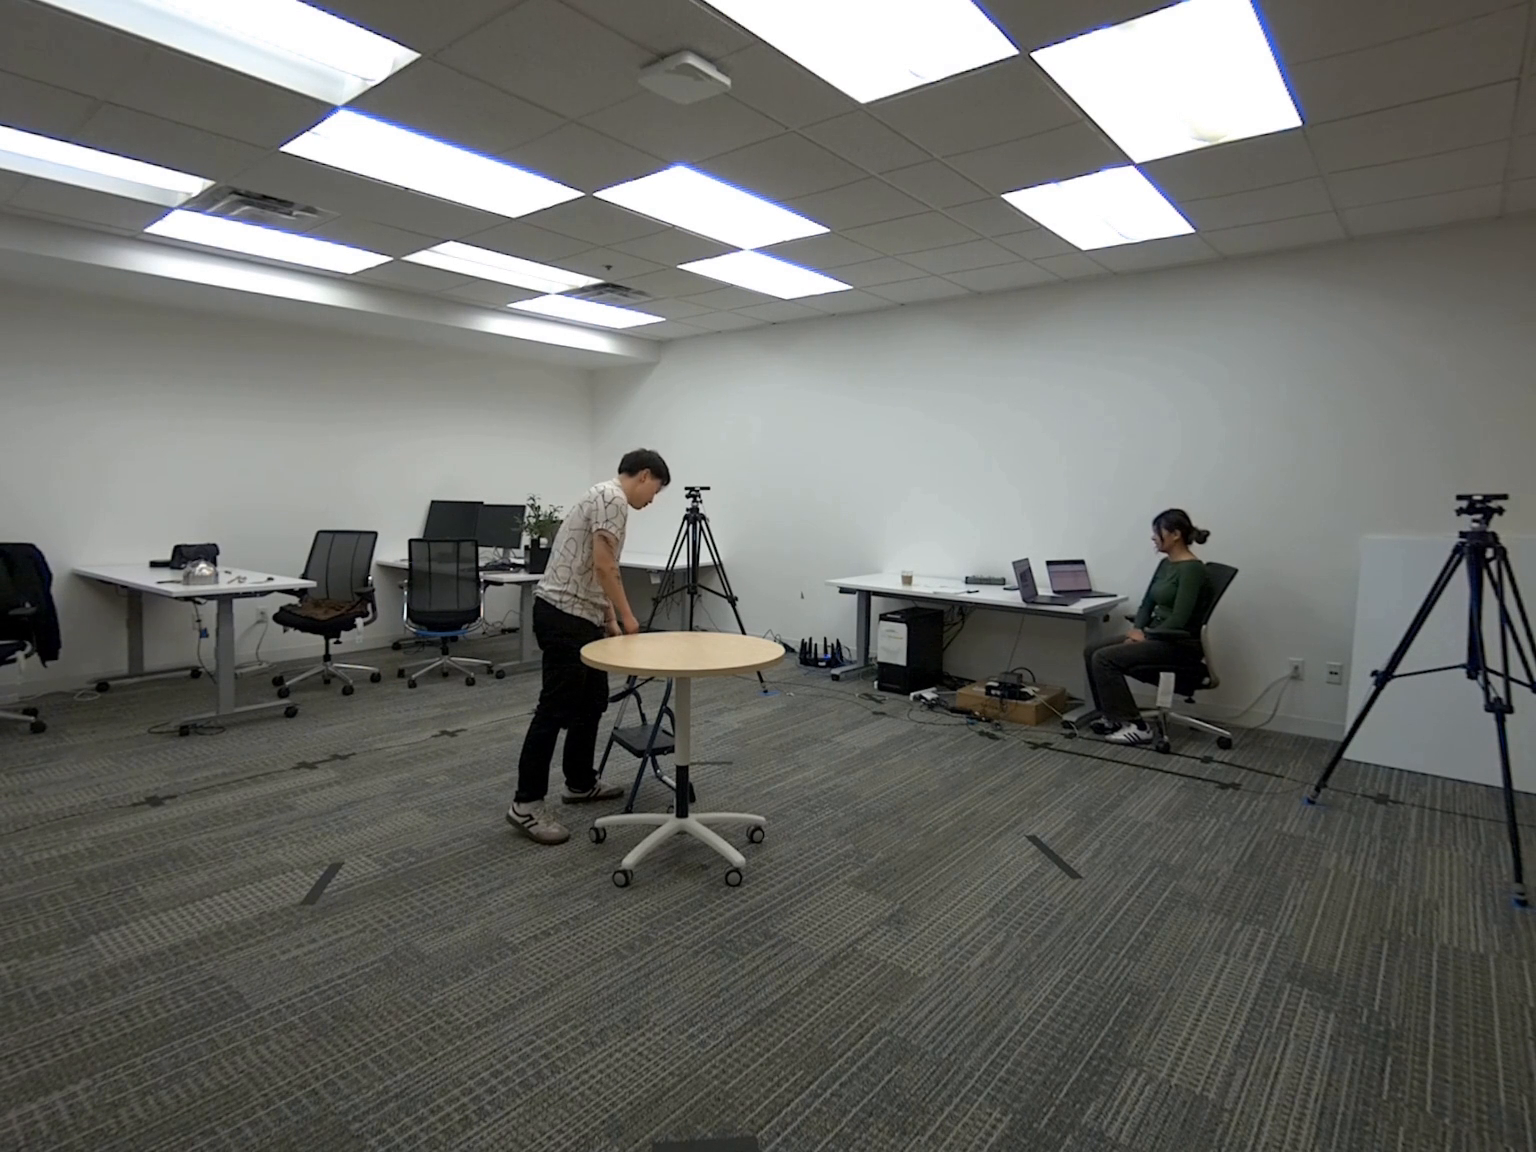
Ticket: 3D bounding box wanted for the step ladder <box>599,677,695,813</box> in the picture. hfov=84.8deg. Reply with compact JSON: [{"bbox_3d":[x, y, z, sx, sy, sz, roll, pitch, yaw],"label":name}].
[{"bbox_3d":[-0.579,0.687,3.848,0.340,0.604,0.443,-1,4,-31],"label":"step ladder"}]
